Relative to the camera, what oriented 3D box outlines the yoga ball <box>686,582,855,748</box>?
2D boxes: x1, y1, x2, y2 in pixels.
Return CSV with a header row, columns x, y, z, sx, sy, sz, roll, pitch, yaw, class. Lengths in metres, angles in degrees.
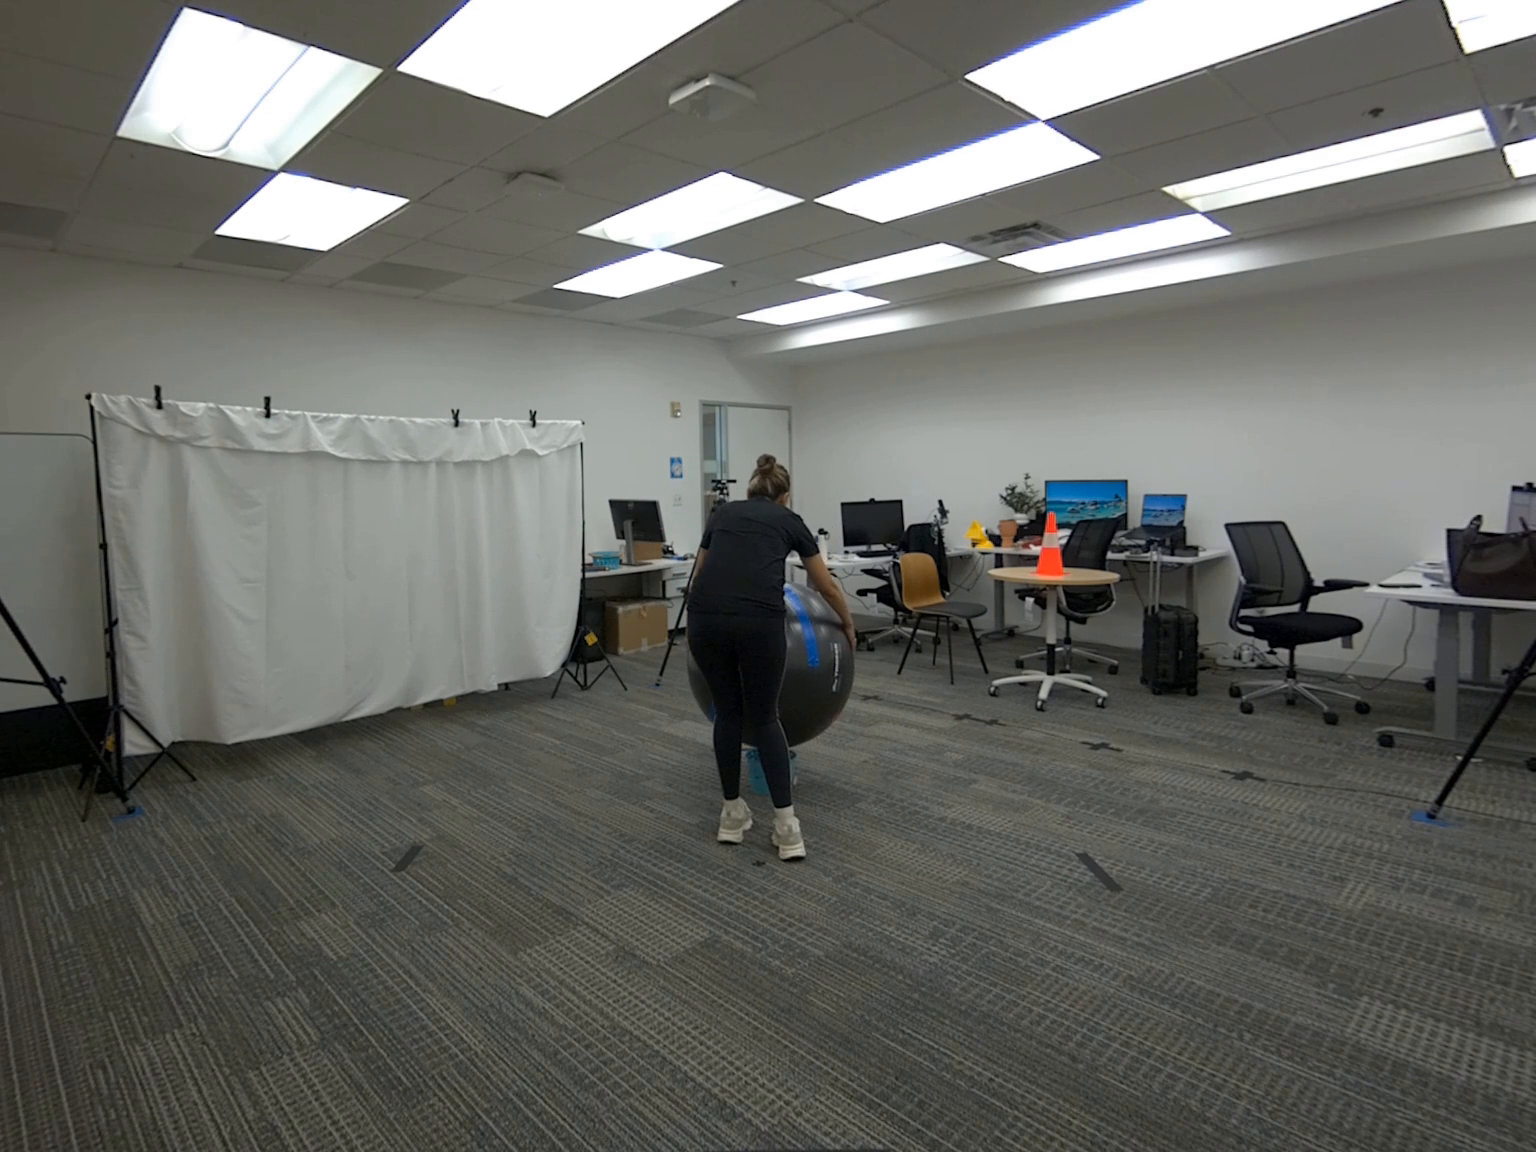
x,y,z,sx,sy,sz,roll,pitch,yaw,class
0.006,0.393,3.864,0.757,0.755,0.762,-1,5,-2,yoga ball
